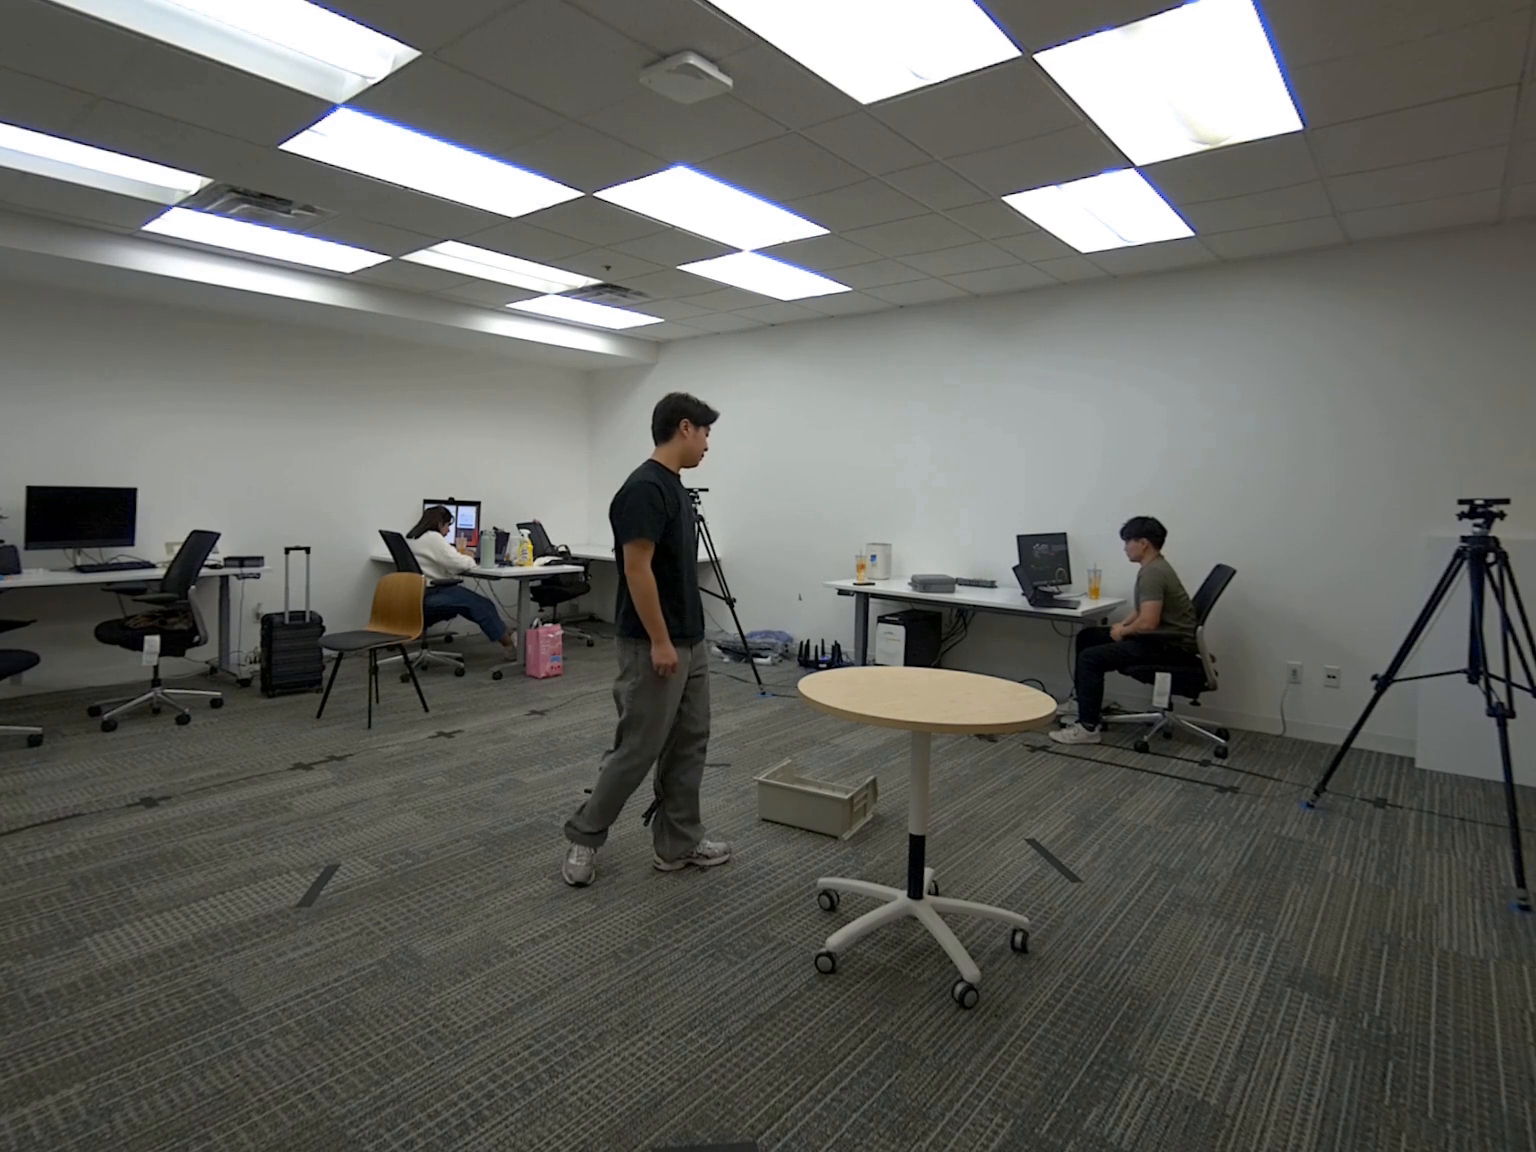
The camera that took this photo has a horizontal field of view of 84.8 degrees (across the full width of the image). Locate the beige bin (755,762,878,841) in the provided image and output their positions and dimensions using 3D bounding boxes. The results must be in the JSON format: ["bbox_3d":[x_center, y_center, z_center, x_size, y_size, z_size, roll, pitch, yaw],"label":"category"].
[{"bbox_3d":[0.201,0.935,3.638,0.435,0.188,0.368,4,7,29],"label":"beige bin"}]
